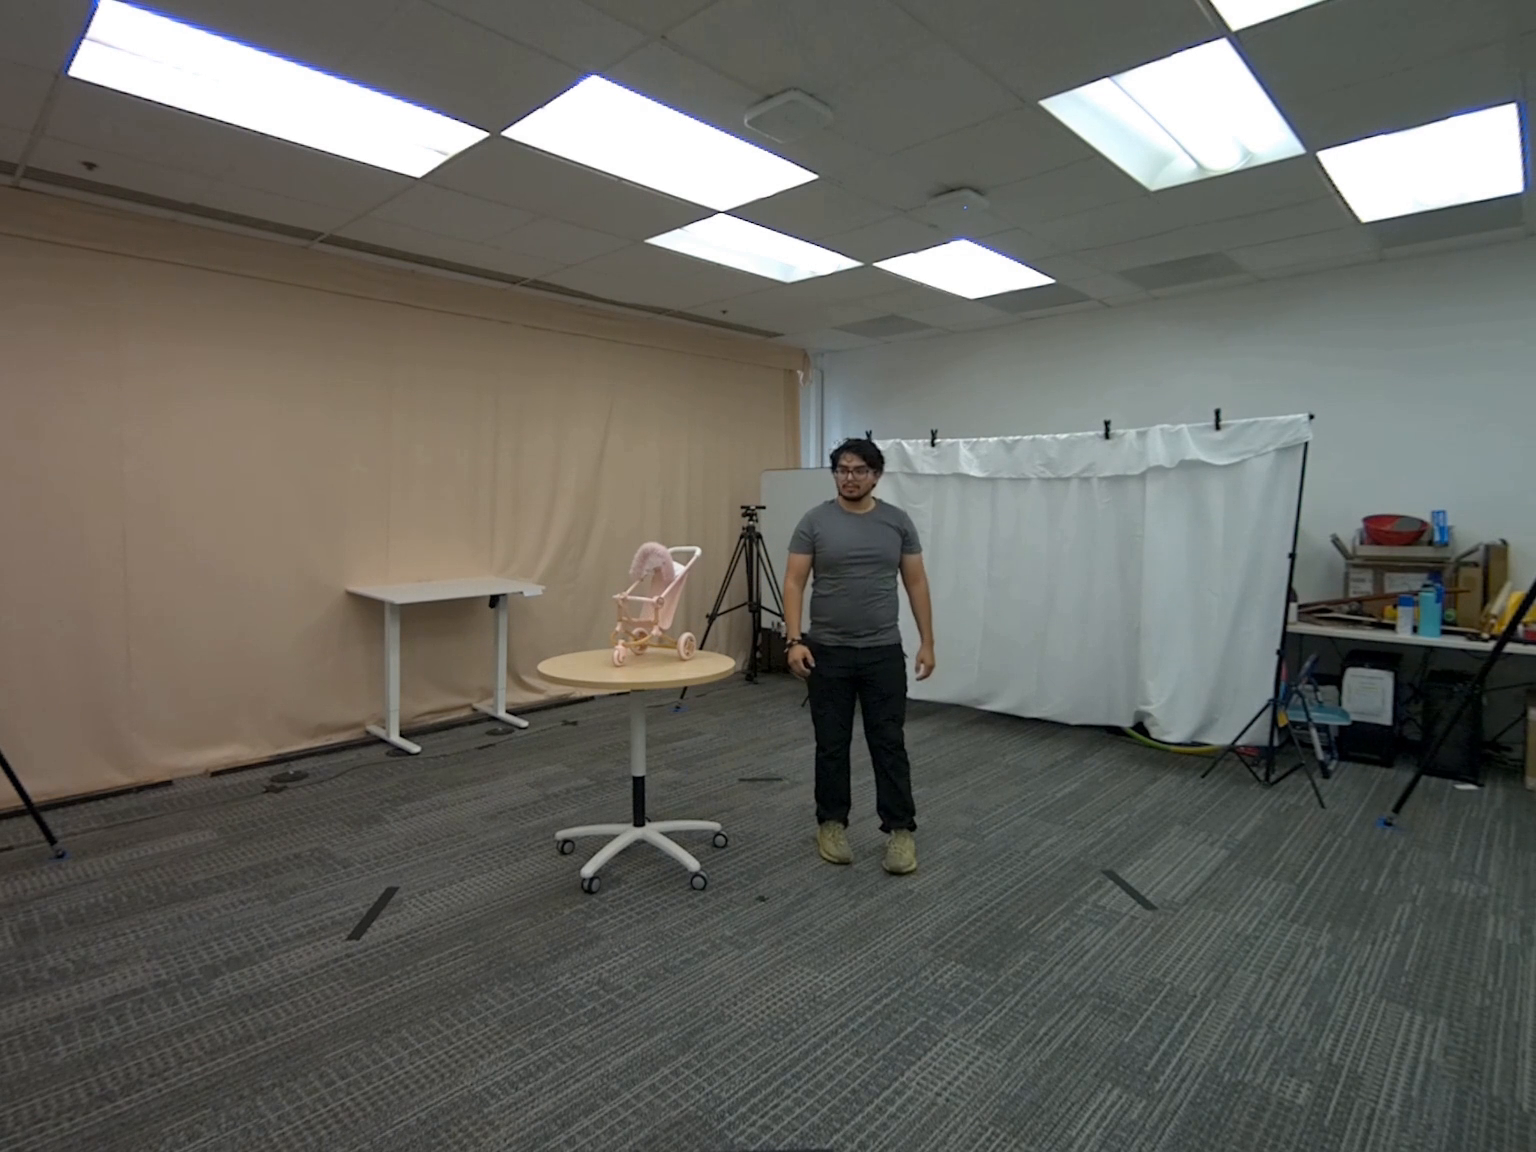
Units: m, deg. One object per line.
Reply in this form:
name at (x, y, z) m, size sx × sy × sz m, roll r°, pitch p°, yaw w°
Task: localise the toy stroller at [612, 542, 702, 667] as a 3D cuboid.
toy stroller at (-0.468, 0.111, 3.366) m, size 0.290 × 0.537 × 0.329 m, roll 1°, pitch -12°, yaw 39°
